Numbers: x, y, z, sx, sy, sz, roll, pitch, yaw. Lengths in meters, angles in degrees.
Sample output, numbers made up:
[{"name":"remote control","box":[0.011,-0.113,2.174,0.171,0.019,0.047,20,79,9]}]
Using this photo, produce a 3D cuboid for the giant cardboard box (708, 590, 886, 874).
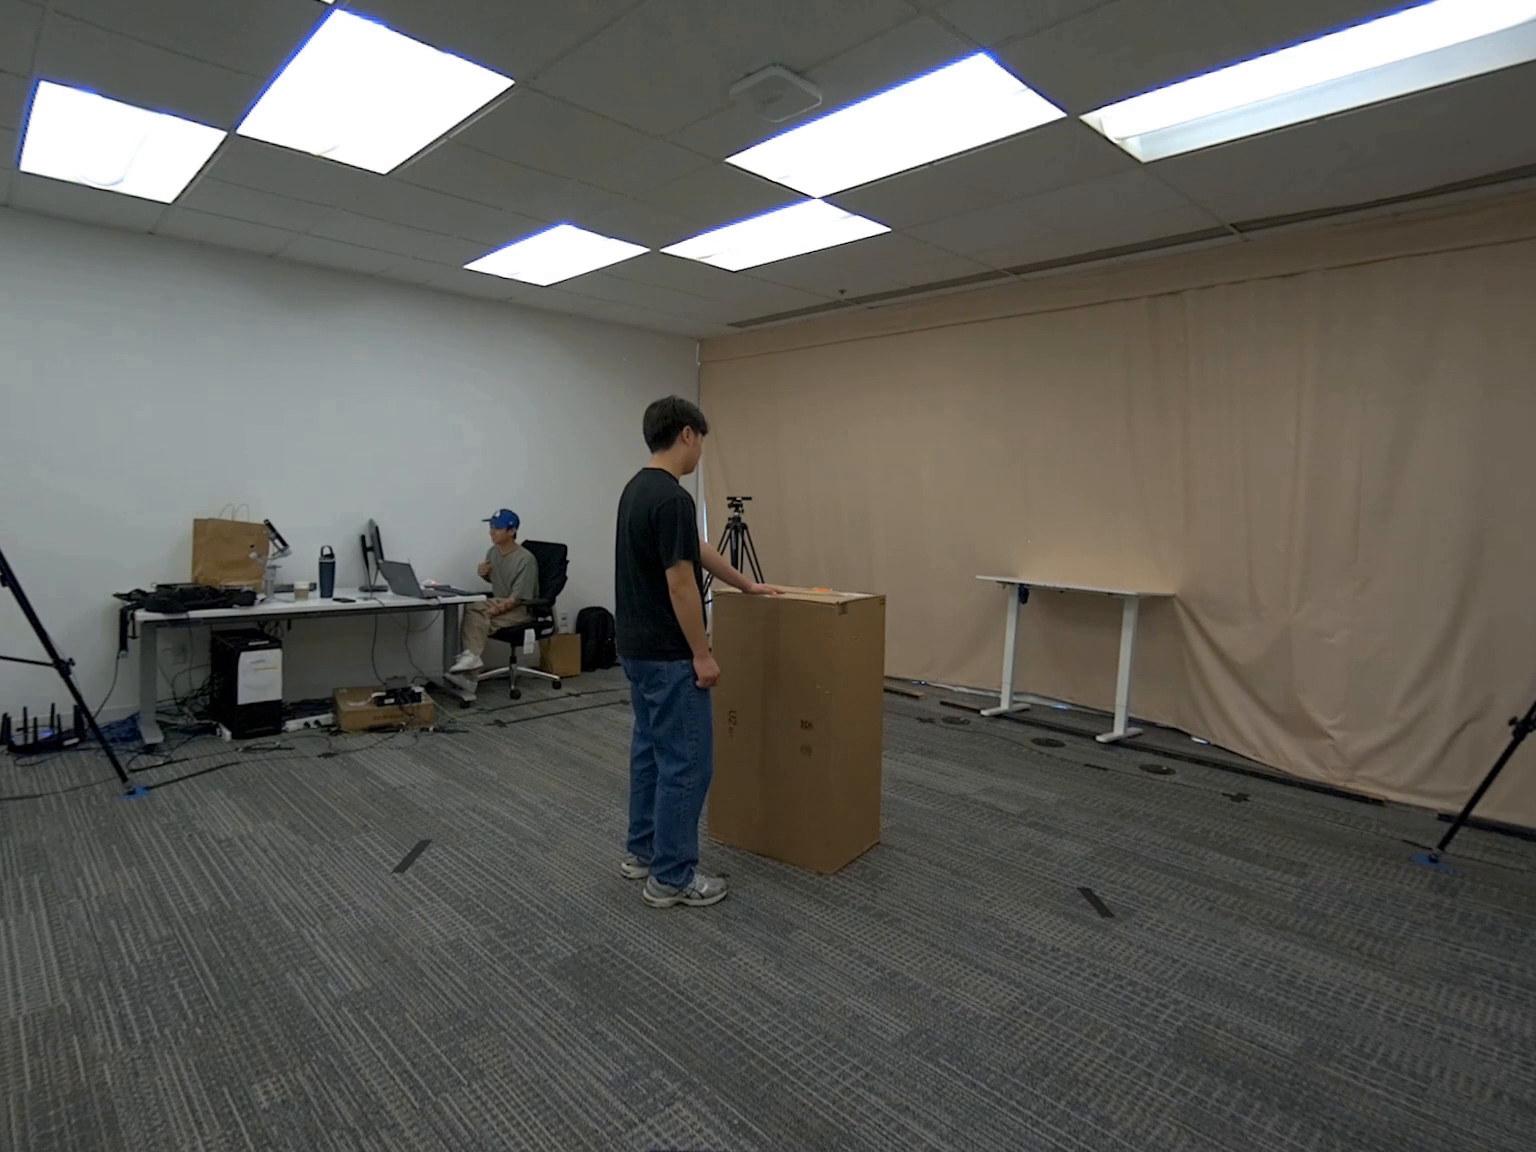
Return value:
[{"name":"giant cardboard box","box":[0.117,0.573,3.430,0.598,1.025,0.437,3,3,36]}]
